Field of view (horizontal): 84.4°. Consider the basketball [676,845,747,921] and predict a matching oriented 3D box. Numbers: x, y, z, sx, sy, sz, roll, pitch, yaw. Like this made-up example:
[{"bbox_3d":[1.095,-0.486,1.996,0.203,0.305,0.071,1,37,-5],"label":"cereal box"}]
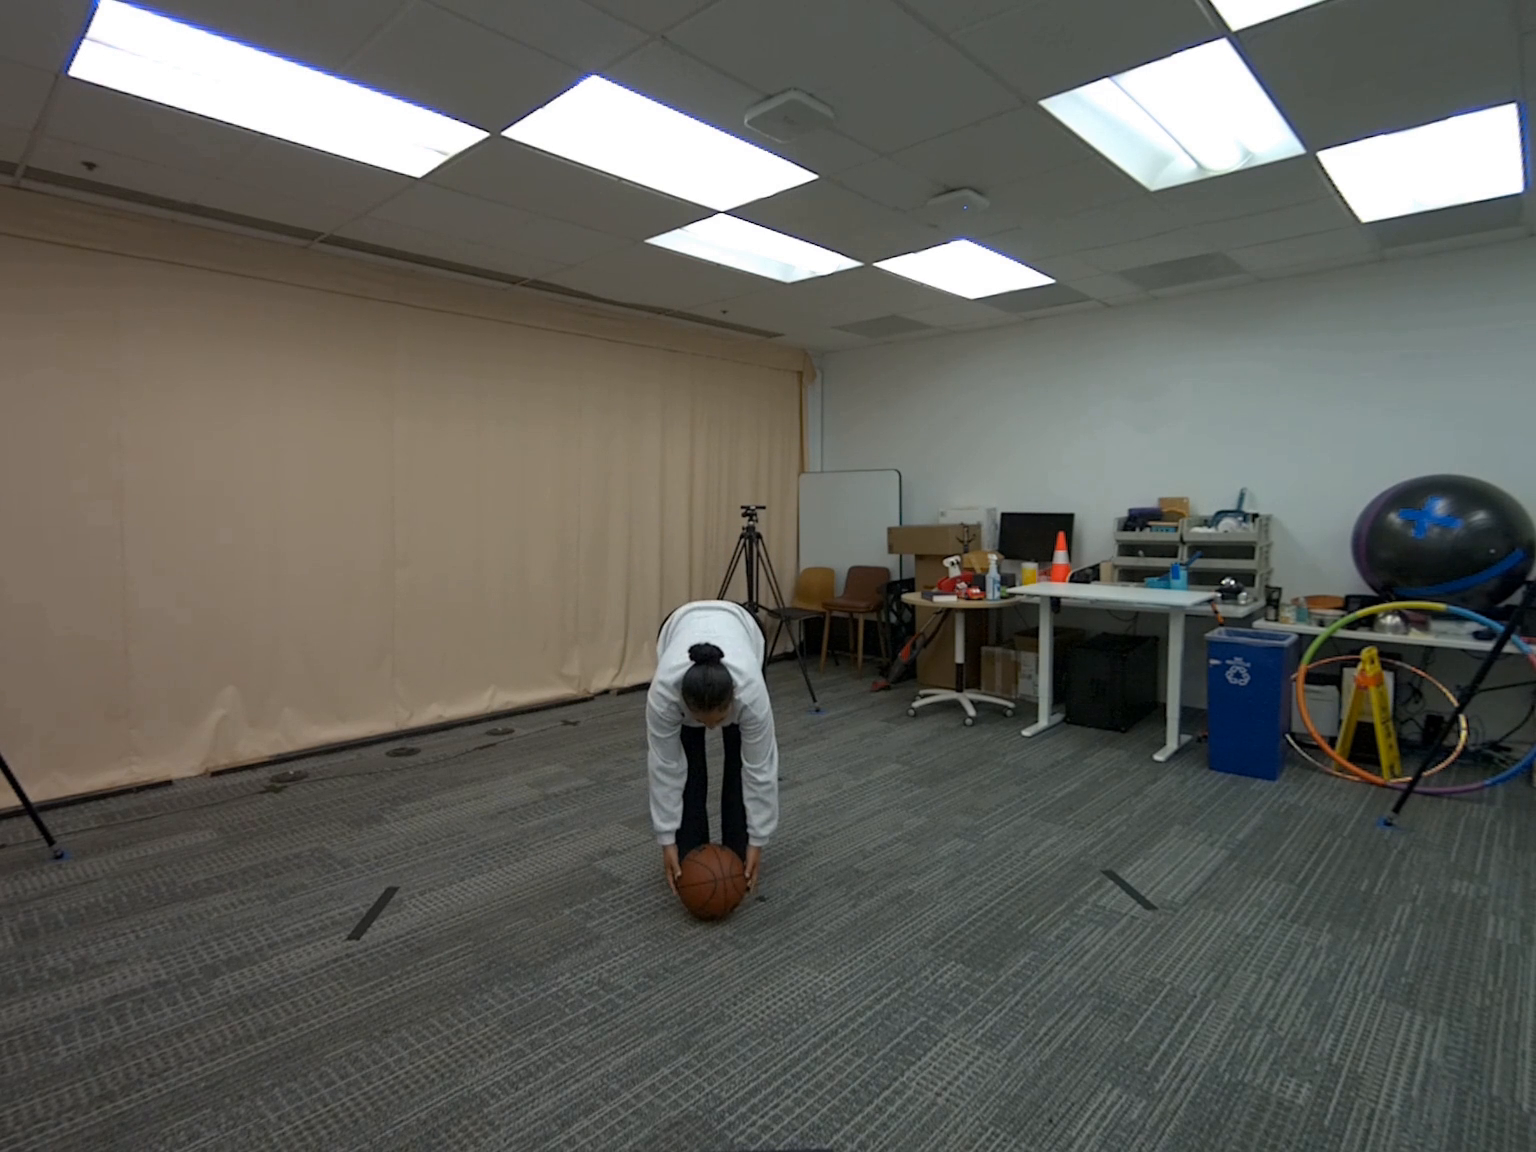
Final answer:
[{"bbox_3d":[-0.187,1.013,2.861,0.236,0.235,0.237,0,4,-2],"label":"basketball"}]
